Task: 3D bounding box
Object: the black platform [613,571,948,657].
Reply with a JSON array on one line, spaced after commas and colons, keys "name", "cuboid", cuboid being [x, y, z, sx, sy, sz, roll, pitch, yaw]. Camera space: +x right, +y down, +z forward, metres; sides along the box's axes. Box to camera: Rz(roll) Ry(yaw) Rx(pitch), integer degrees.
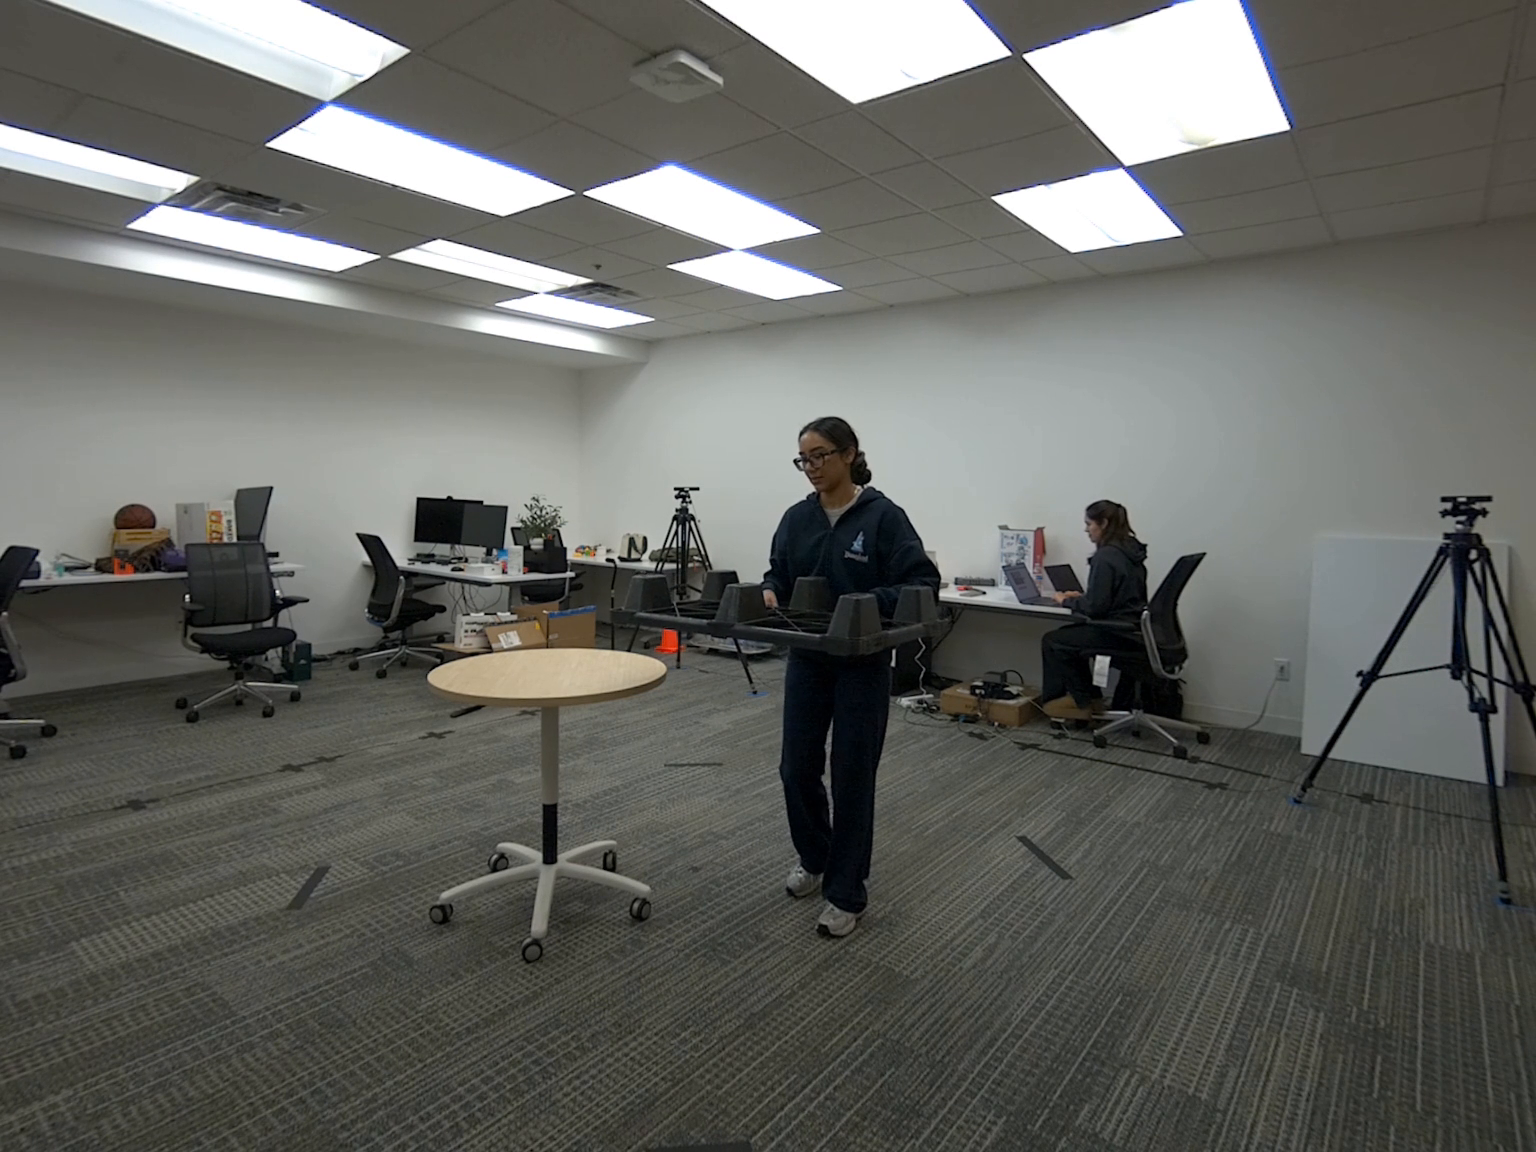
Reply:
[{"name": "black platform", "cuboid": [0.014, 0.082, 2.463, 0.831, 0.143, 0.588, 5, 5, 34]}]
